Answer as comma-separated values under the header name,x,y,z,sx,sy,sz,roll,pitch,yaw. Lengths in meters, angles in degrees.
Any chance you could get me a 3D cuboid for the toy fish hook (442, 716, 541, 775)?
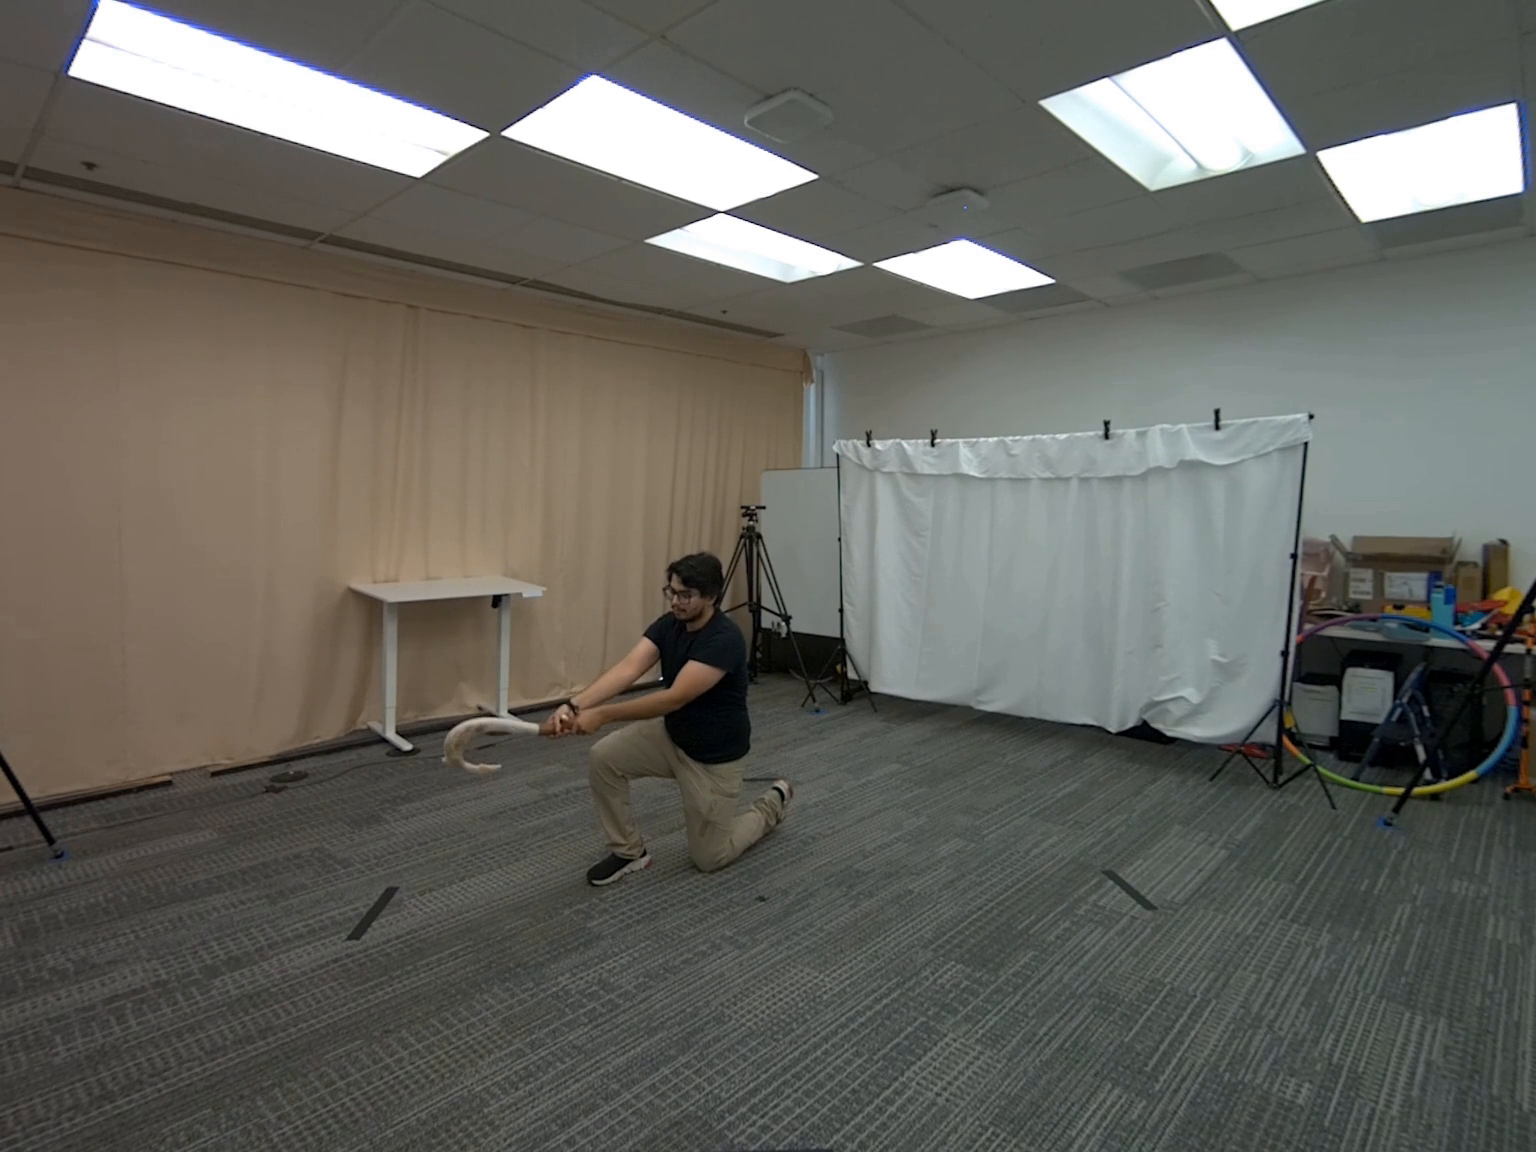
name,x,y,z,sx,sy,sz,roll,pitch,yaw
toy fish hook,-0.853,0.561,2.842,0.492,0.223,0.050,2,29,-30
